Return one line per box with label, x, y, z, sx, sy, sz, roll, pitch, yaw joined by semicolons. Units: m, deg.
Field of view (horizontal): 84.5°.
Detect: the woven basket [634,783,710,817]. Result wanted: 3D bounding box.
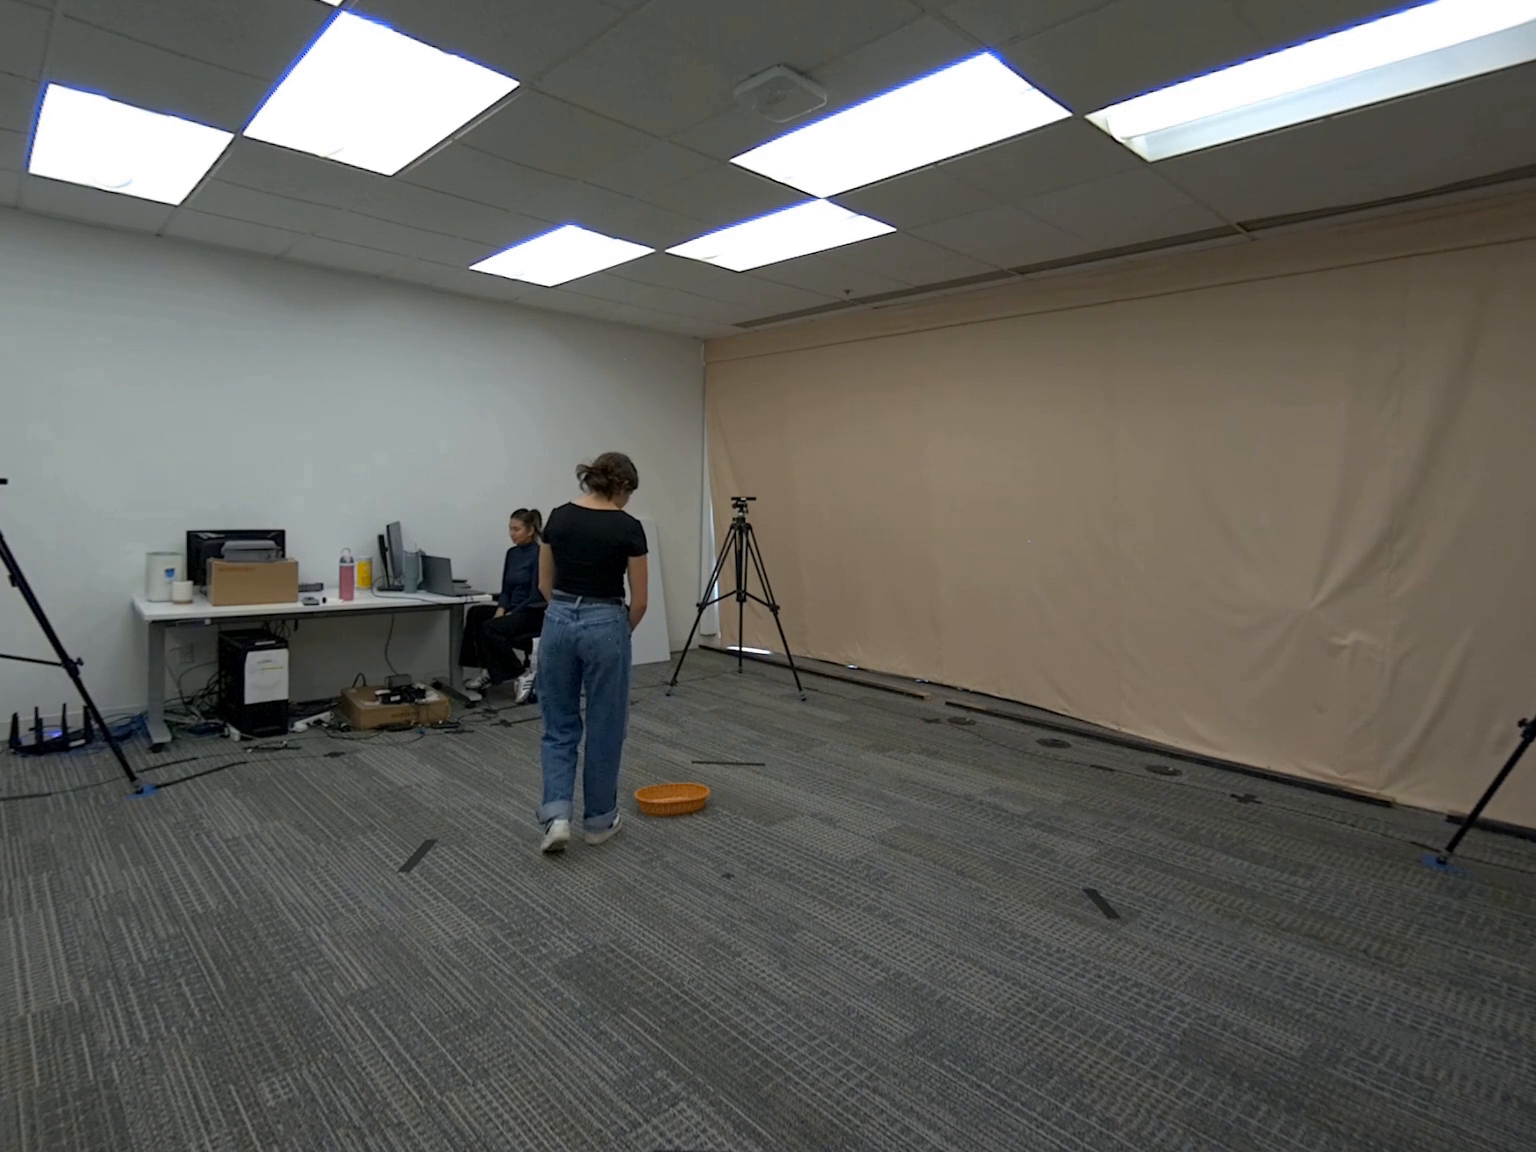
woven basket;-0.439;1.001;3.780;0.345;0.073;0.257;-1;4;-22
